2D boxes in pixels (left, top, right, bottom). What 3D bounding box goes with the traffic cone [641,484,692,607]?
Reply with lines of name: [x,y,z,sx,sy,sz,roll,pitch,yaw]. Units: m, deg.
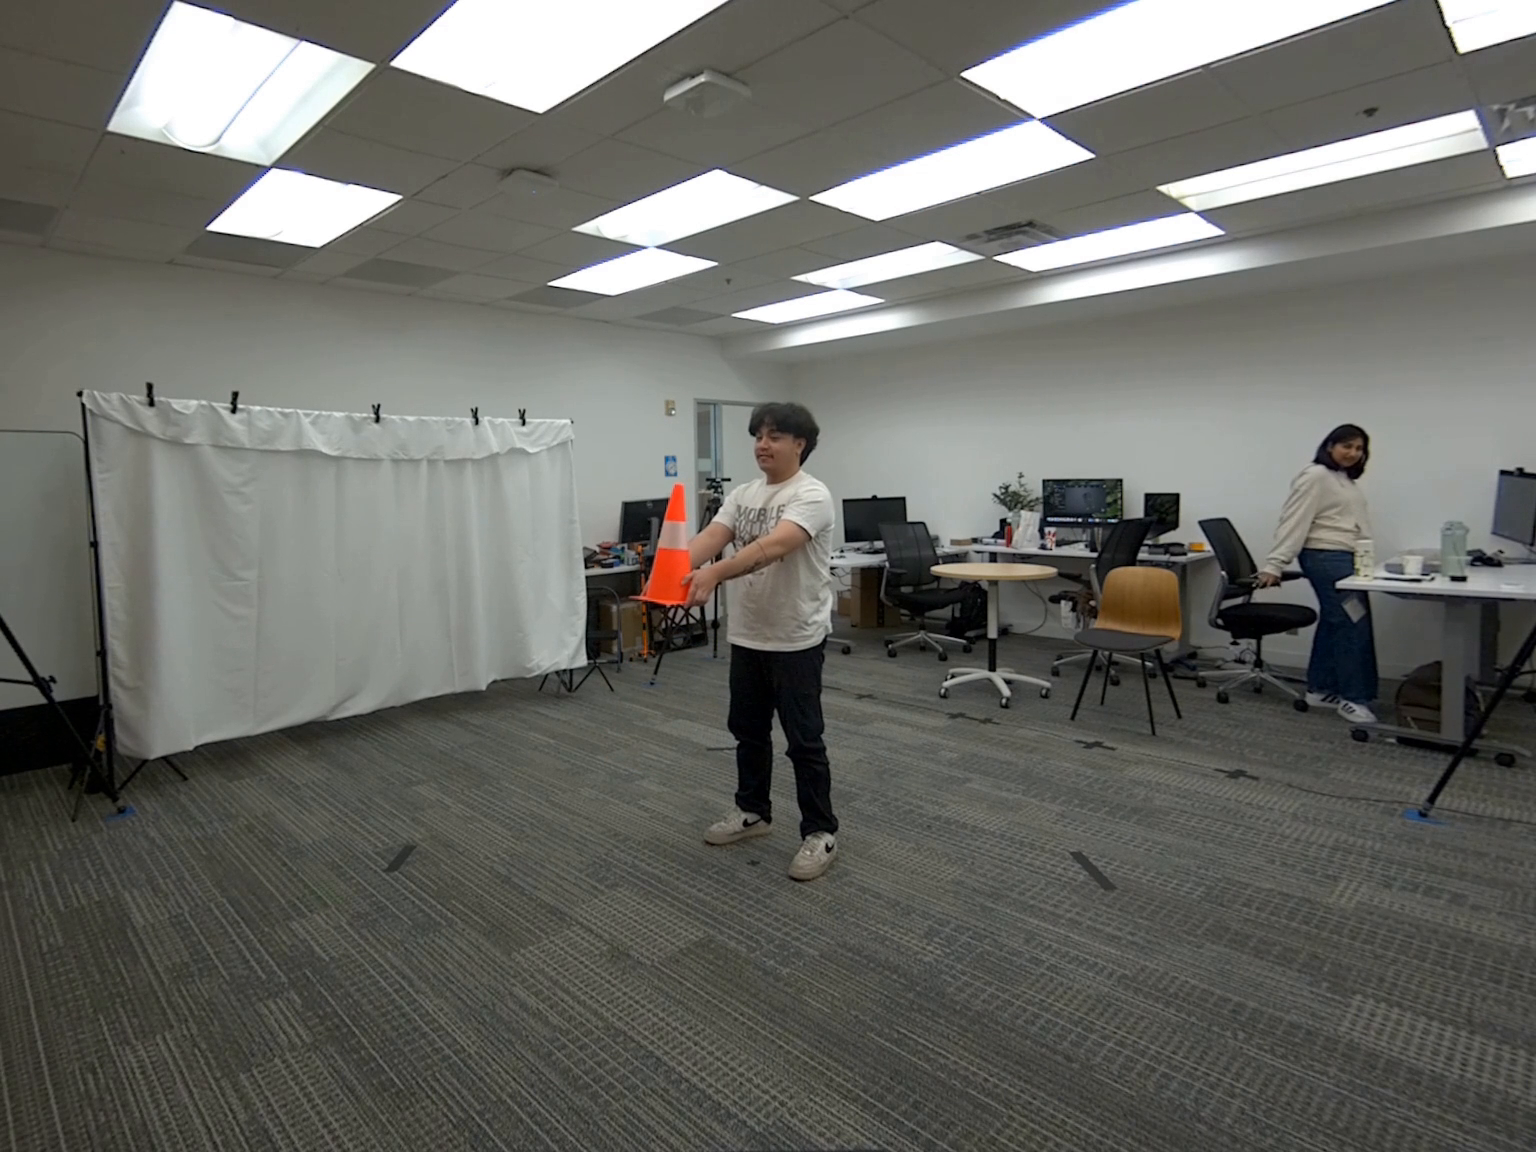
traffic cone: [-0.304,-0.112,2.783,0.210,0.384,0.198,2,1,30]
